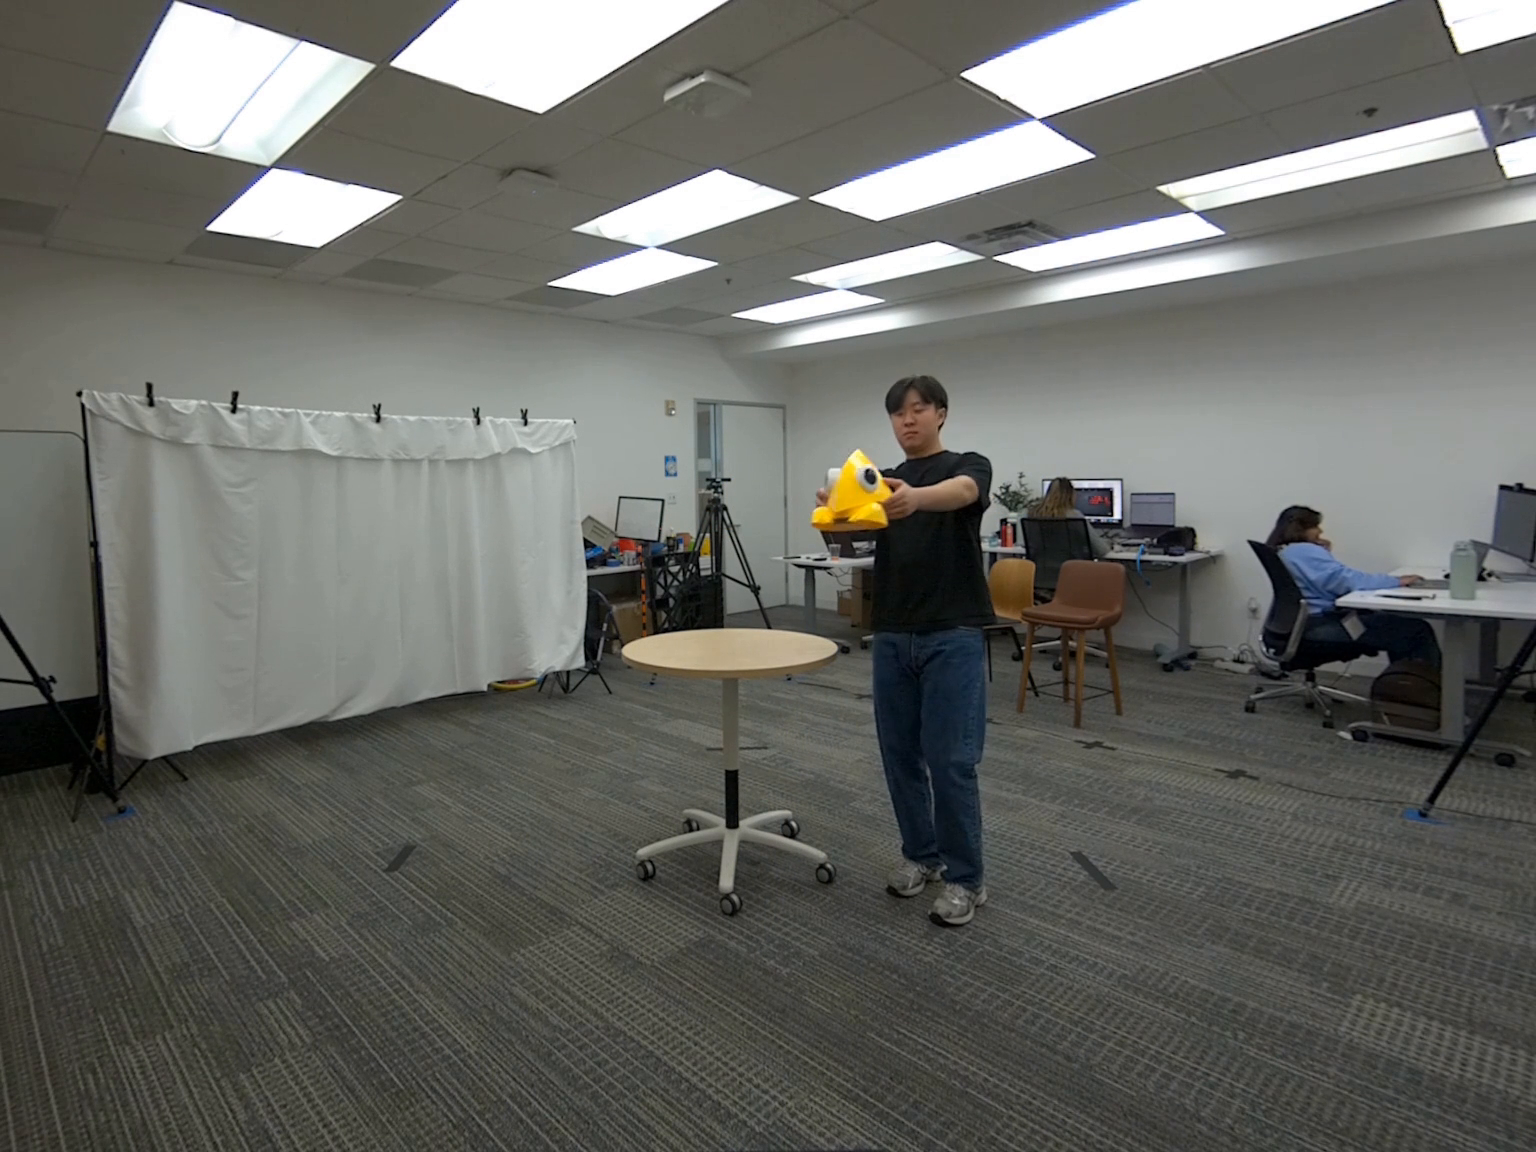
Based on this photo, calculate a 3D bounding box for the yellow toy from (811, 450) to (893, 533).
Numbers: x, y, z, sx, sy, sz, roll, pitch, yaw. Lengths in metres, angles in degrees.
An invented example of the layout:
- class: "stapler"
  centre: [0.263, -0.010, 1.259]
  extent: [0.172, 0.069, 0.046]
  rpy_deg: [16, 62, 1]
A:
- class: "yellow toy"
  centre: [0.230, -0.247, 2.376]
  extent: [0.210, 0.232, 0.187]
  rpy_deg: [-2, -7, 30]
